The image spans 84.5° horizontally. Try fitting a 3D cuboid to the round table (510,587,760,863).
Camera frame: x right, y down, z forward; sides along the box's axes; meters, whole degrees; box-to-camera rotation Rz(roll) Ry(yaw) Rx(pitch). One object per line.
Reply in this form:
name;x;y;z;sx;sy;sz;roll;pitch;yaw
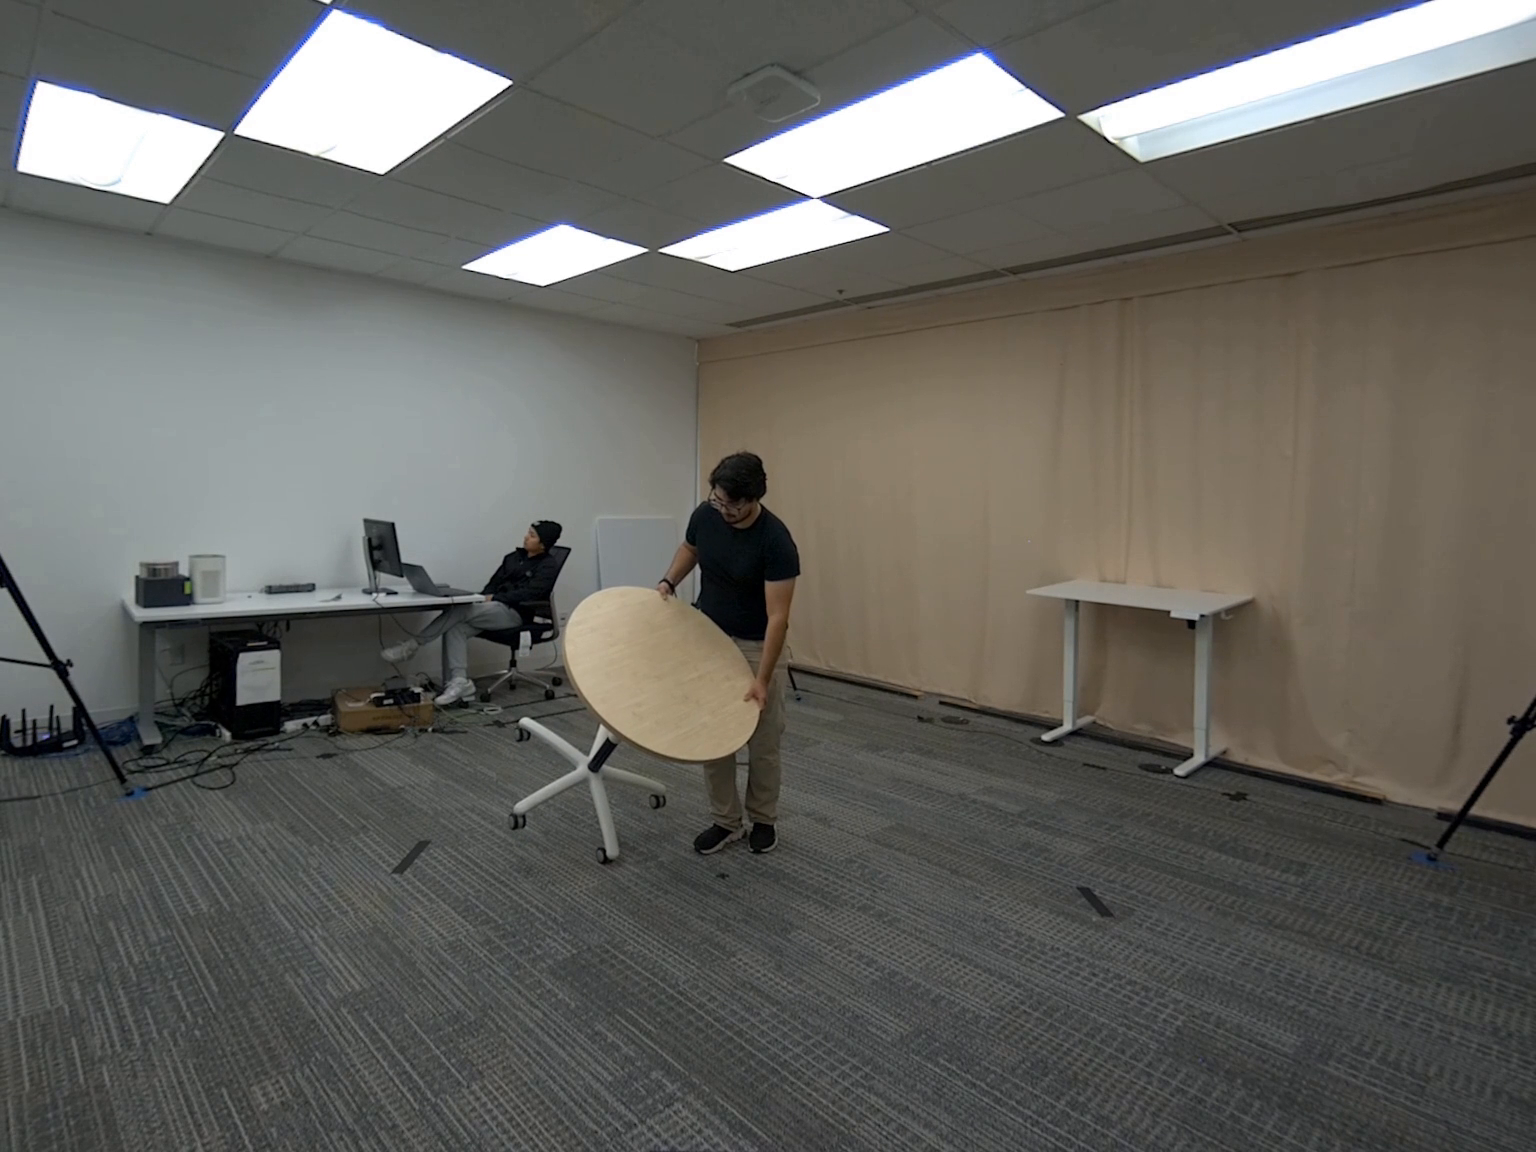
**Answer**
round table;-0.579;0.579;3.193;0.771;0.783;0.802;24;34;-19
